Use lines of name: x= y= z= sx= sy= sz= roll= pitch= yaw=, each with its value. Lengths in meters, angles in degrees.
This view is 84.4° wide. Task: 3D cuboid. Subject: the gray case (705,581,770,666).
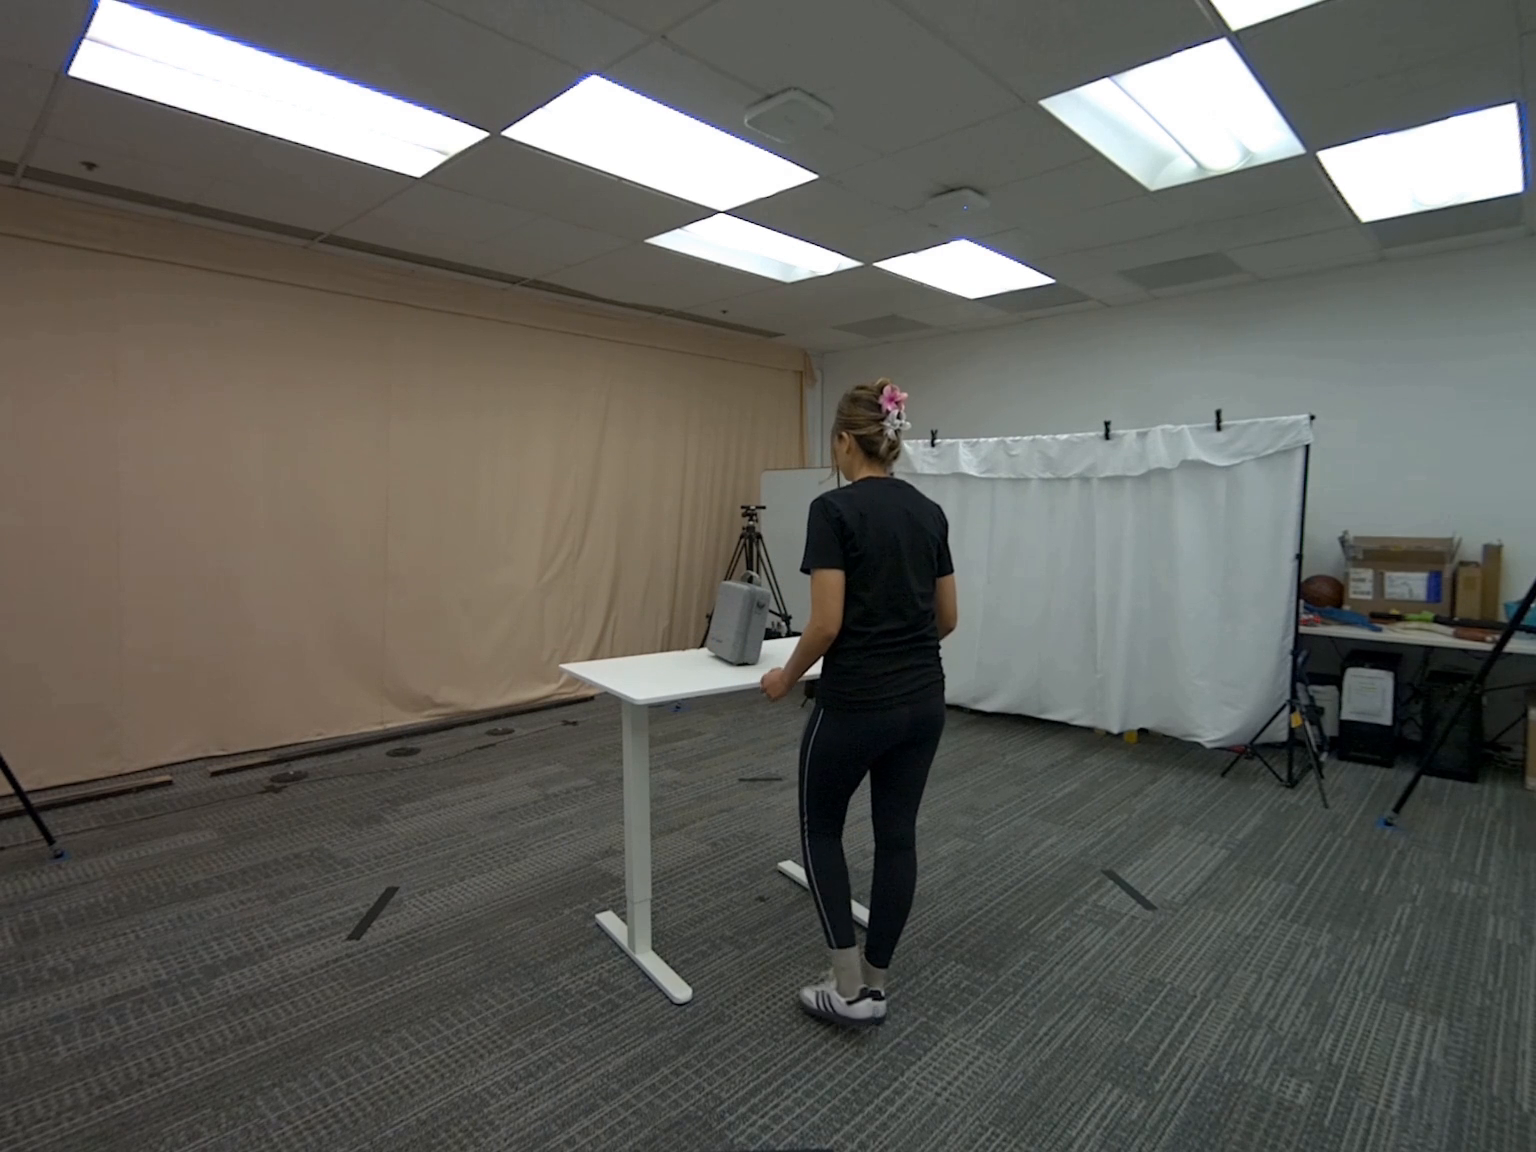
gray case: x=-0.096 y=0.149 z=2.779 sx=0.102 sy=0.260 sz=0.263 roll=7 pitch=1 yaw=-23
